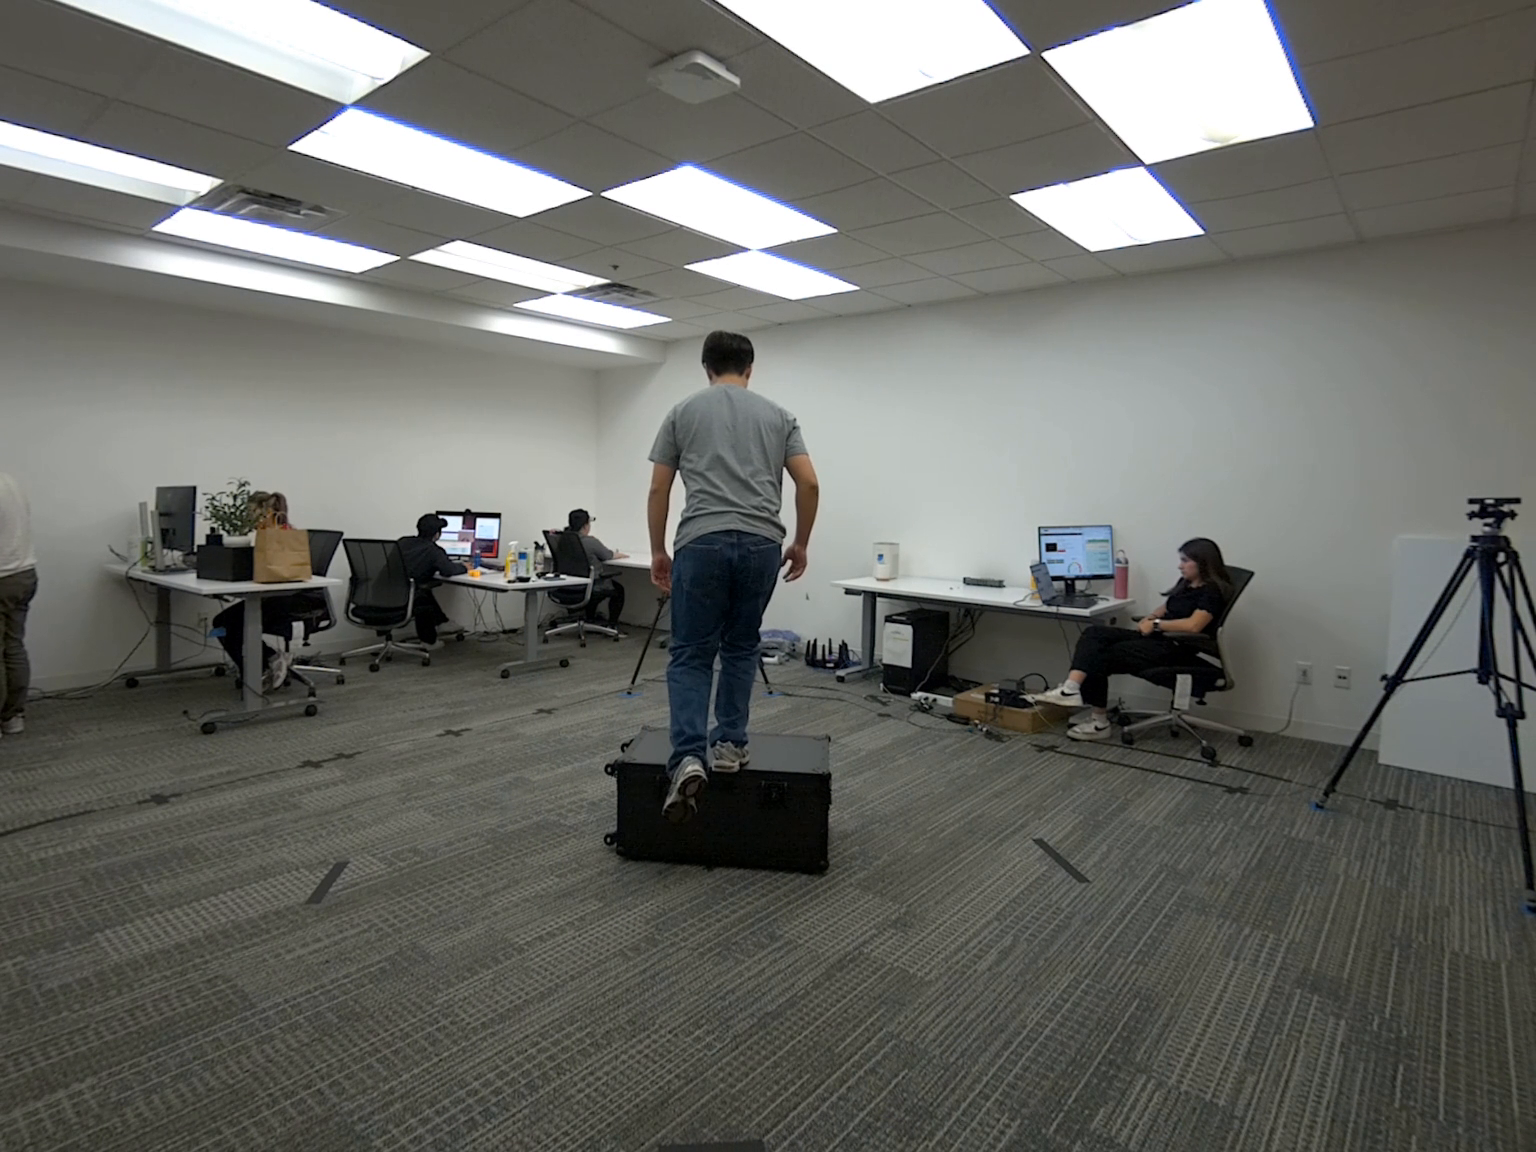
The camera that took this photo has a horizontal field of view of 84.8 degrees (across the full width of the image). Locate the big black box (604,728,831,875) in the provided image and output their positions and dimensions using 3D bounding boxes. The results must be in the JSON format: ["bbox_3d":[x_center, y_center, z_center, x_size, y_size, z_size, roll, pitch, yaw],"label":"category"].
[{"bbox_3d":[-0.198,0.849,3.338,0.868,0.395,0.519,2,5,6],"label":"big black box"}]
